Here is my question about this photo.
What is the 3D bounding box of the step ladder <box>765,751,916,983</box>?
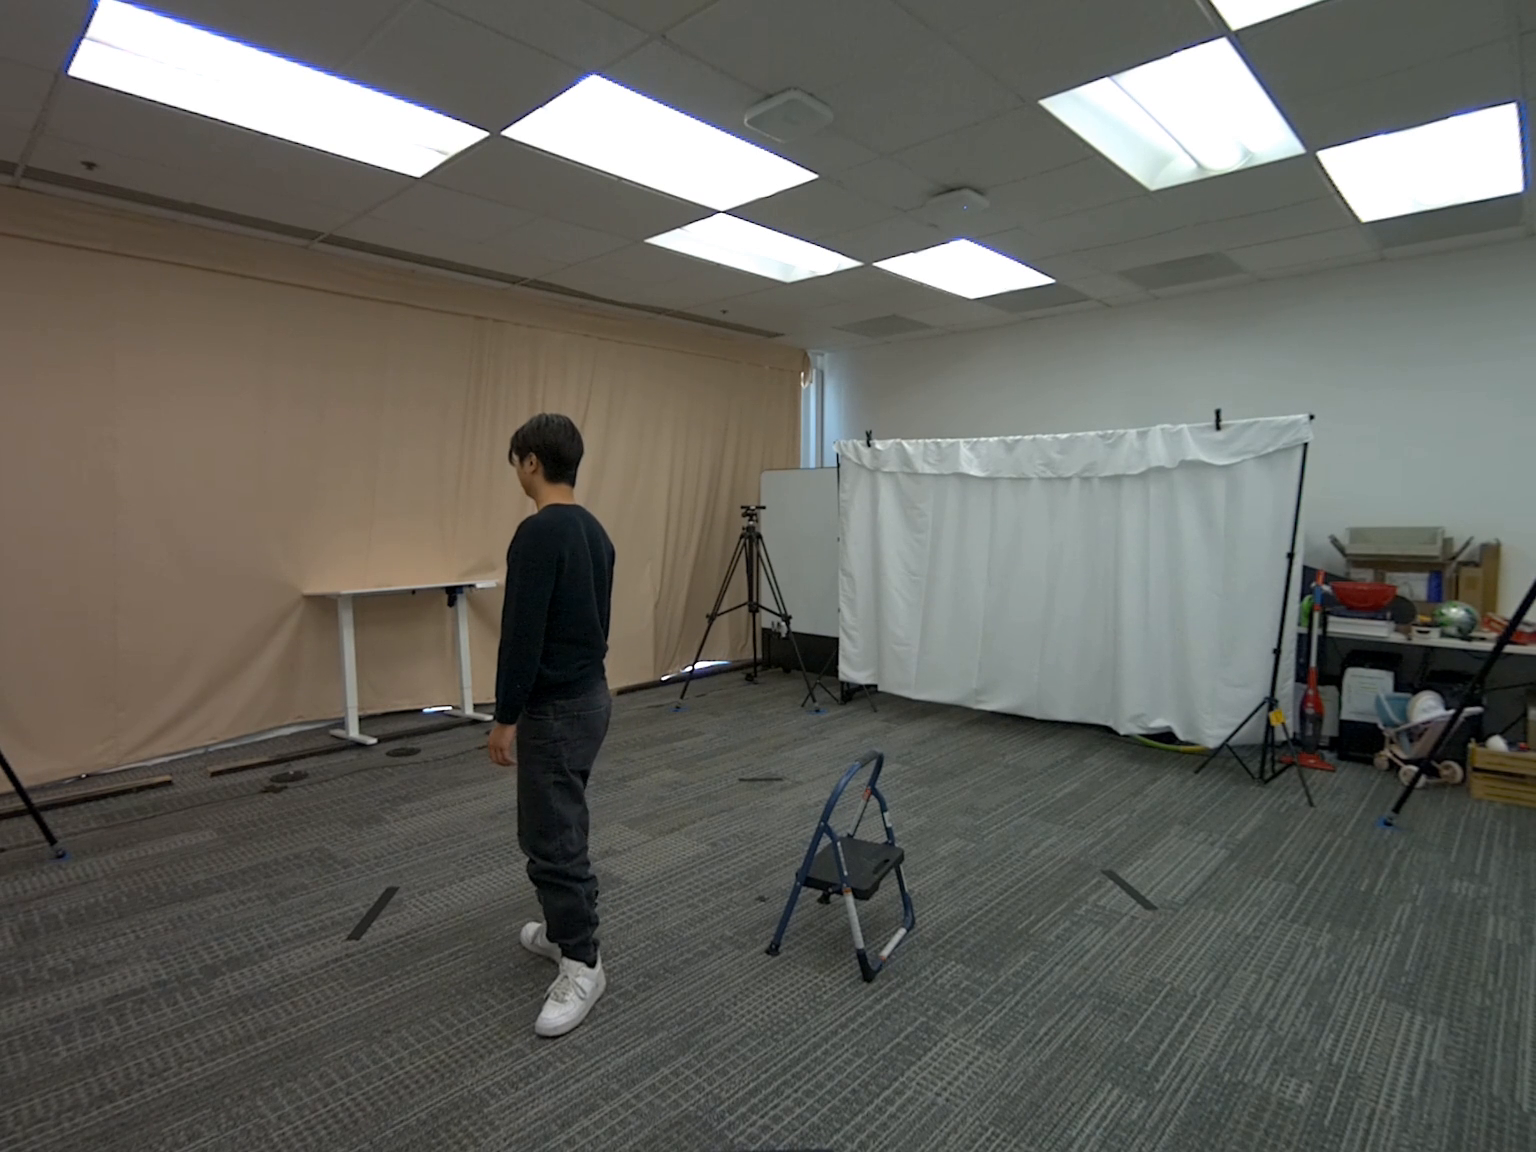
[{"bbox_3d":[0.246,0.865,2.696,0.359,0.605,0.419,1,4,29],"label":"step ladder"}]
